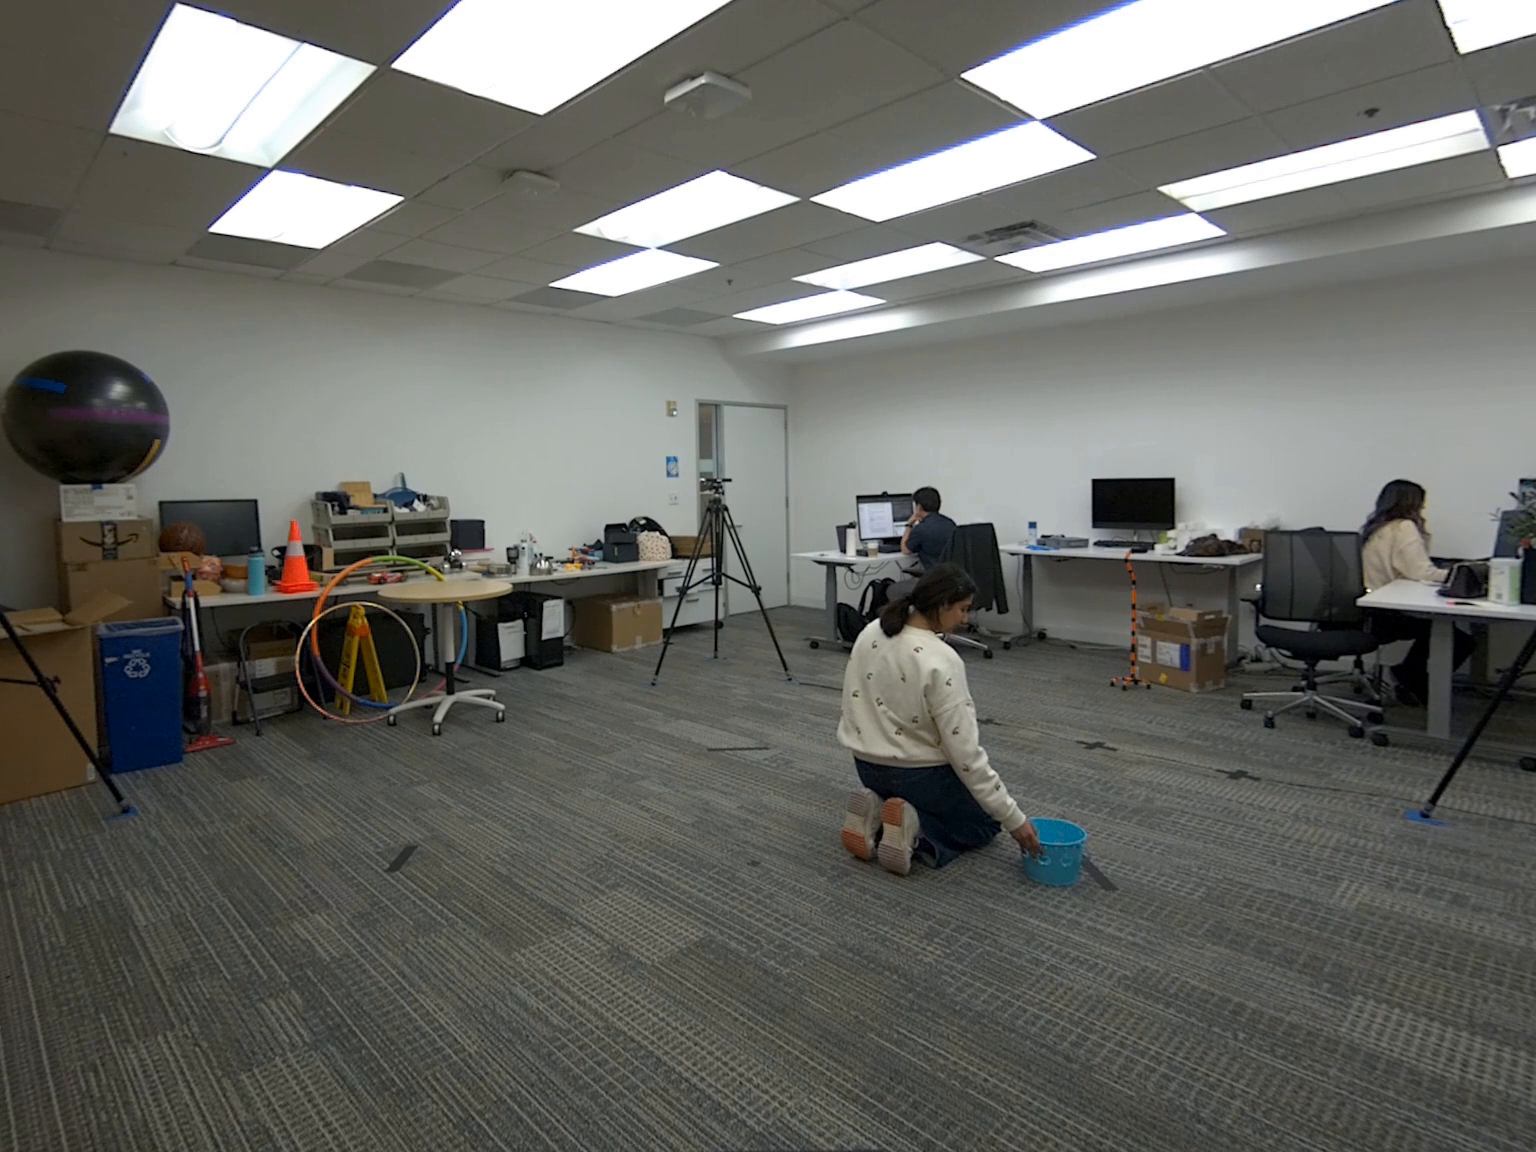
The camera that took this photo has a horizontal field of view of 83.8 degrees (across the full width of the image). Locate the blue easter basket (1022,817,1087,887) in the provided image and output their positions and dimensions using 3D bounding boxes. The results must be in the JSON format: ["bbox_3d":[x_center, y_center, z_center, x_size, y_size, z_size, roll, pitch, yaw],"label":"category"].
[{"bbox_3d":[0.991,0.958,2.976,0.243,0.155,0.245,-1,5,-2],"label":"blue easter basket"}]
